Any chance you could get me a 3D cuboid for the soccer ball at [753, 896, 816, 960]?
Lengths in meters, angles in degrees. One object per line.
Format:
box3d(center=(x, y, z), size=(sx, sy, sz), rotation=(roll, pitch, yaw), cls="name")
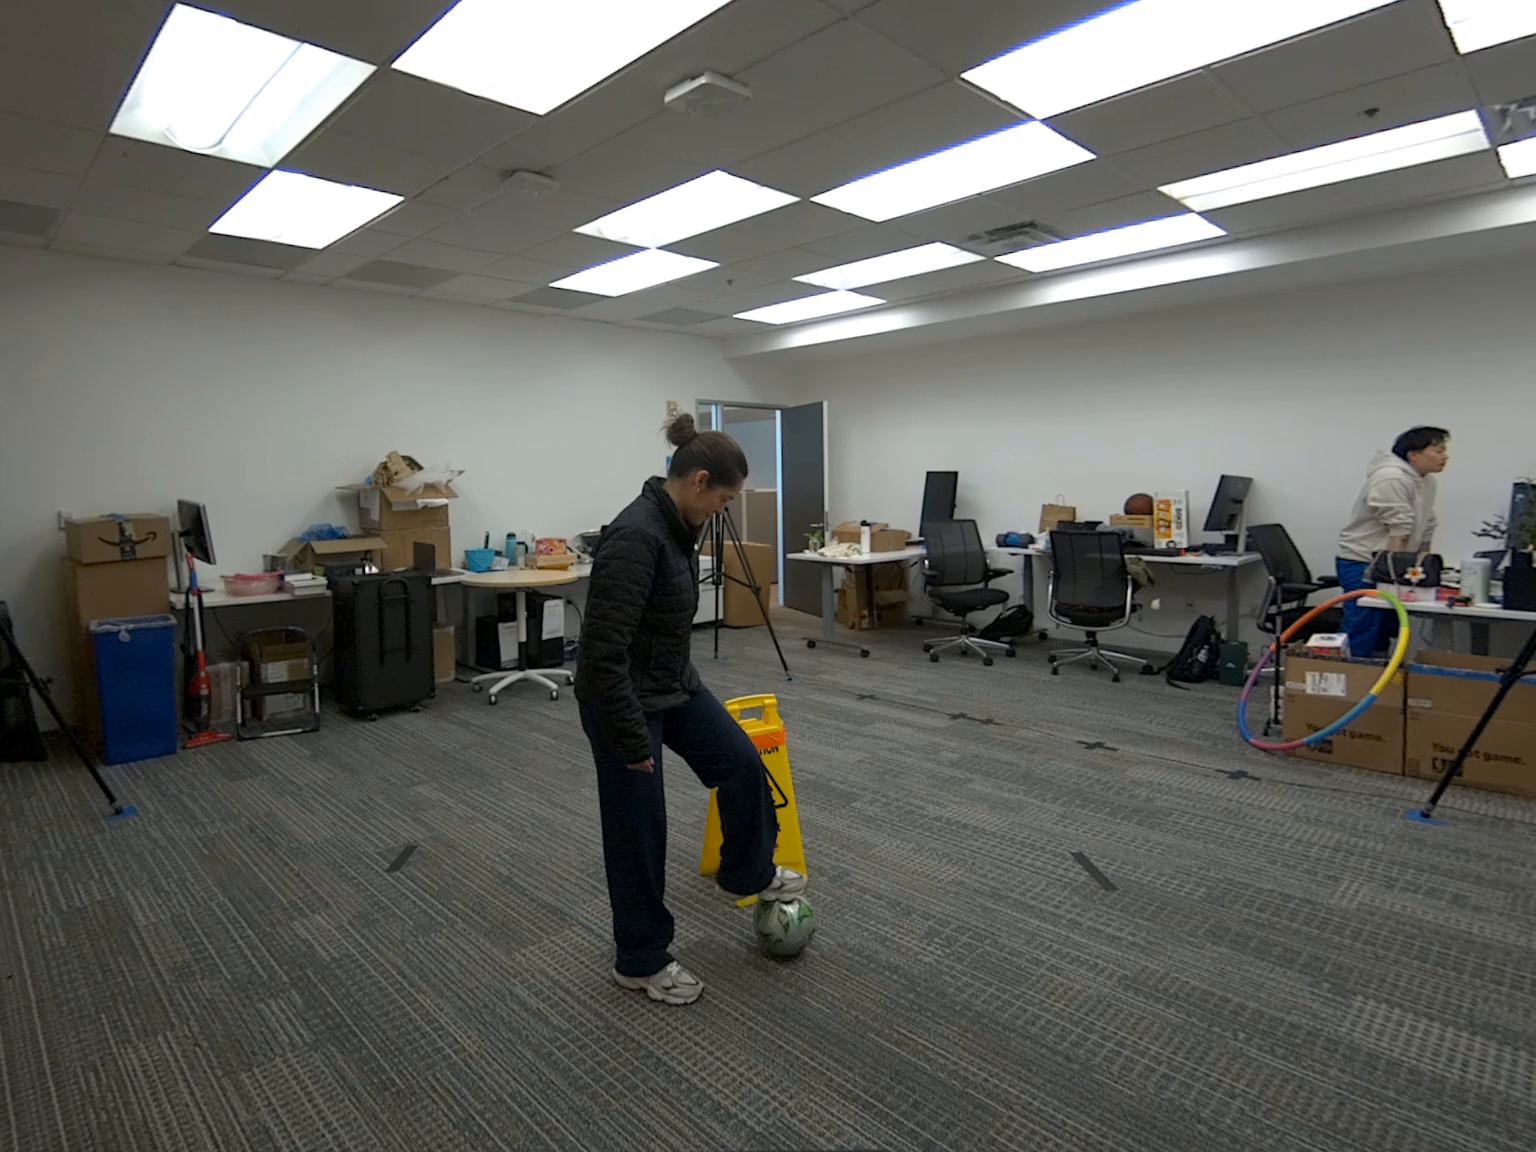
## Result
box3d(center=(0.042, 1.020, 2.524), size=(0.187, 0.187, 0.188), rotation=(-1, 5, -2), cls="soccer ball")
